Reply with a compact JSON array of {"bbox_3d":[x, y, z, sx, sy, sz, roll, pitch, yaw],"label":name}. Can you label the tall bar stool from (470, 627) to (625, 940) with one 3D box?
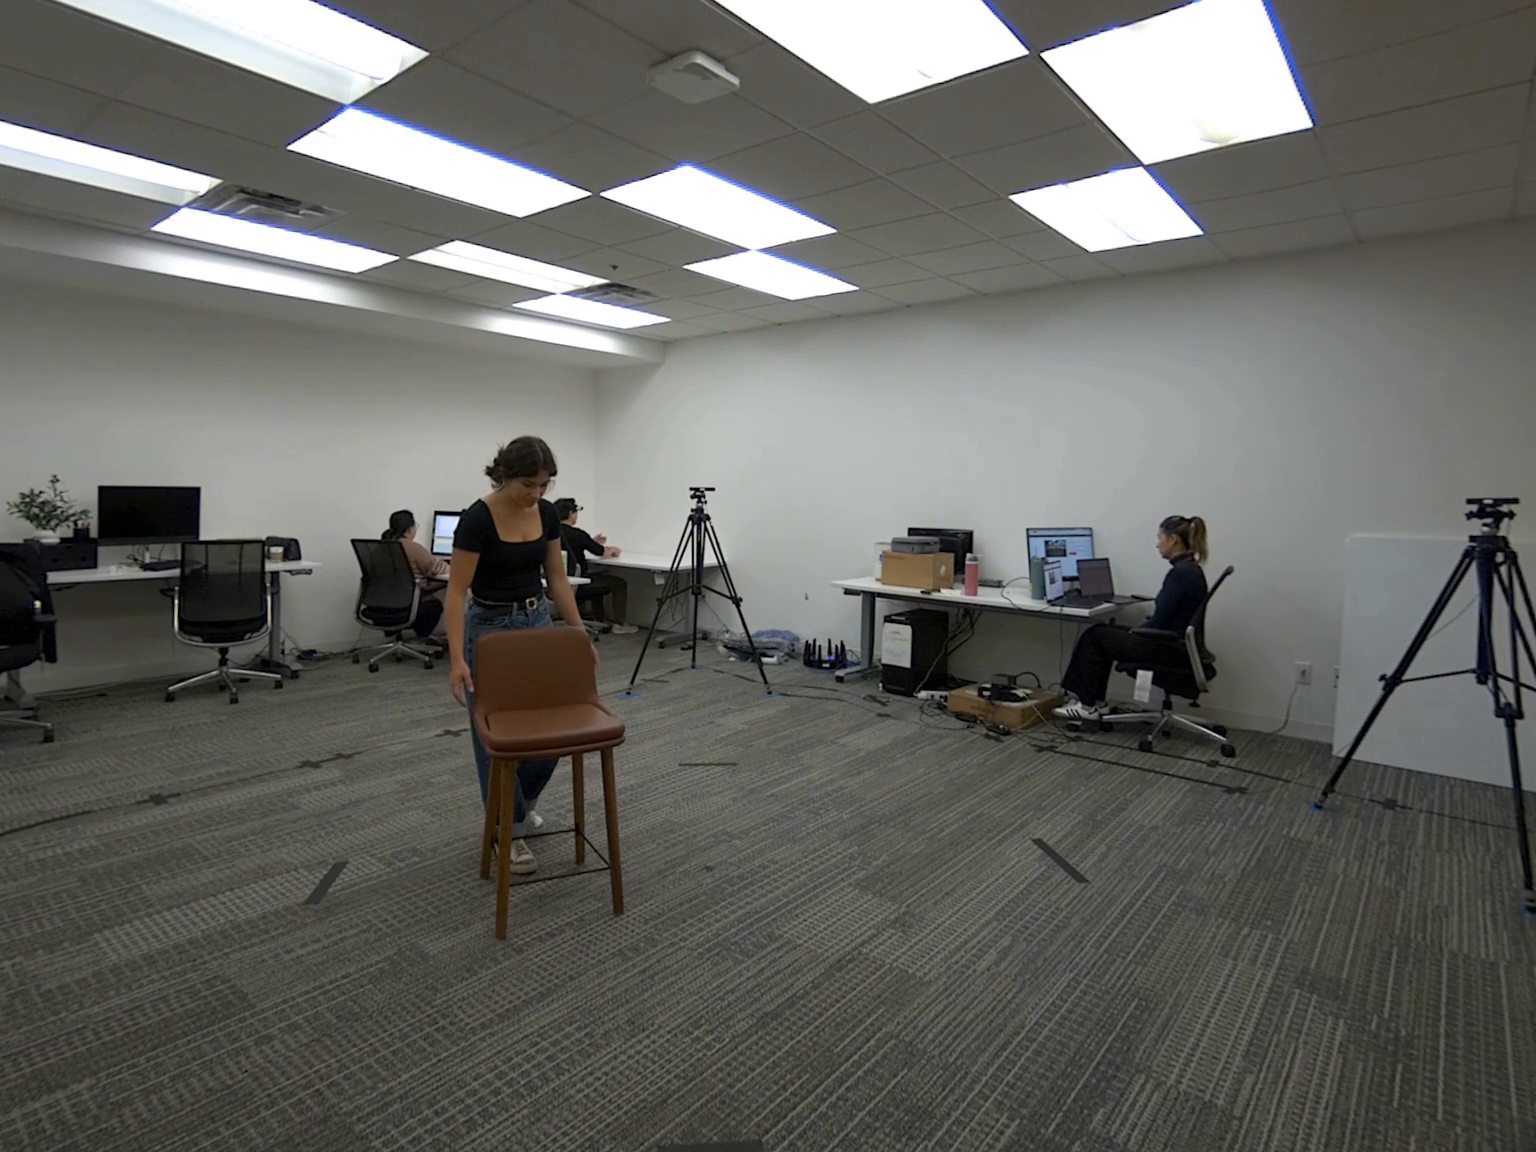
[{"bbox_3d":[-0.757,0.644,2.863,0.445,0.888,0.480,-1,2,-26],"label":"tall bar stool"}]
